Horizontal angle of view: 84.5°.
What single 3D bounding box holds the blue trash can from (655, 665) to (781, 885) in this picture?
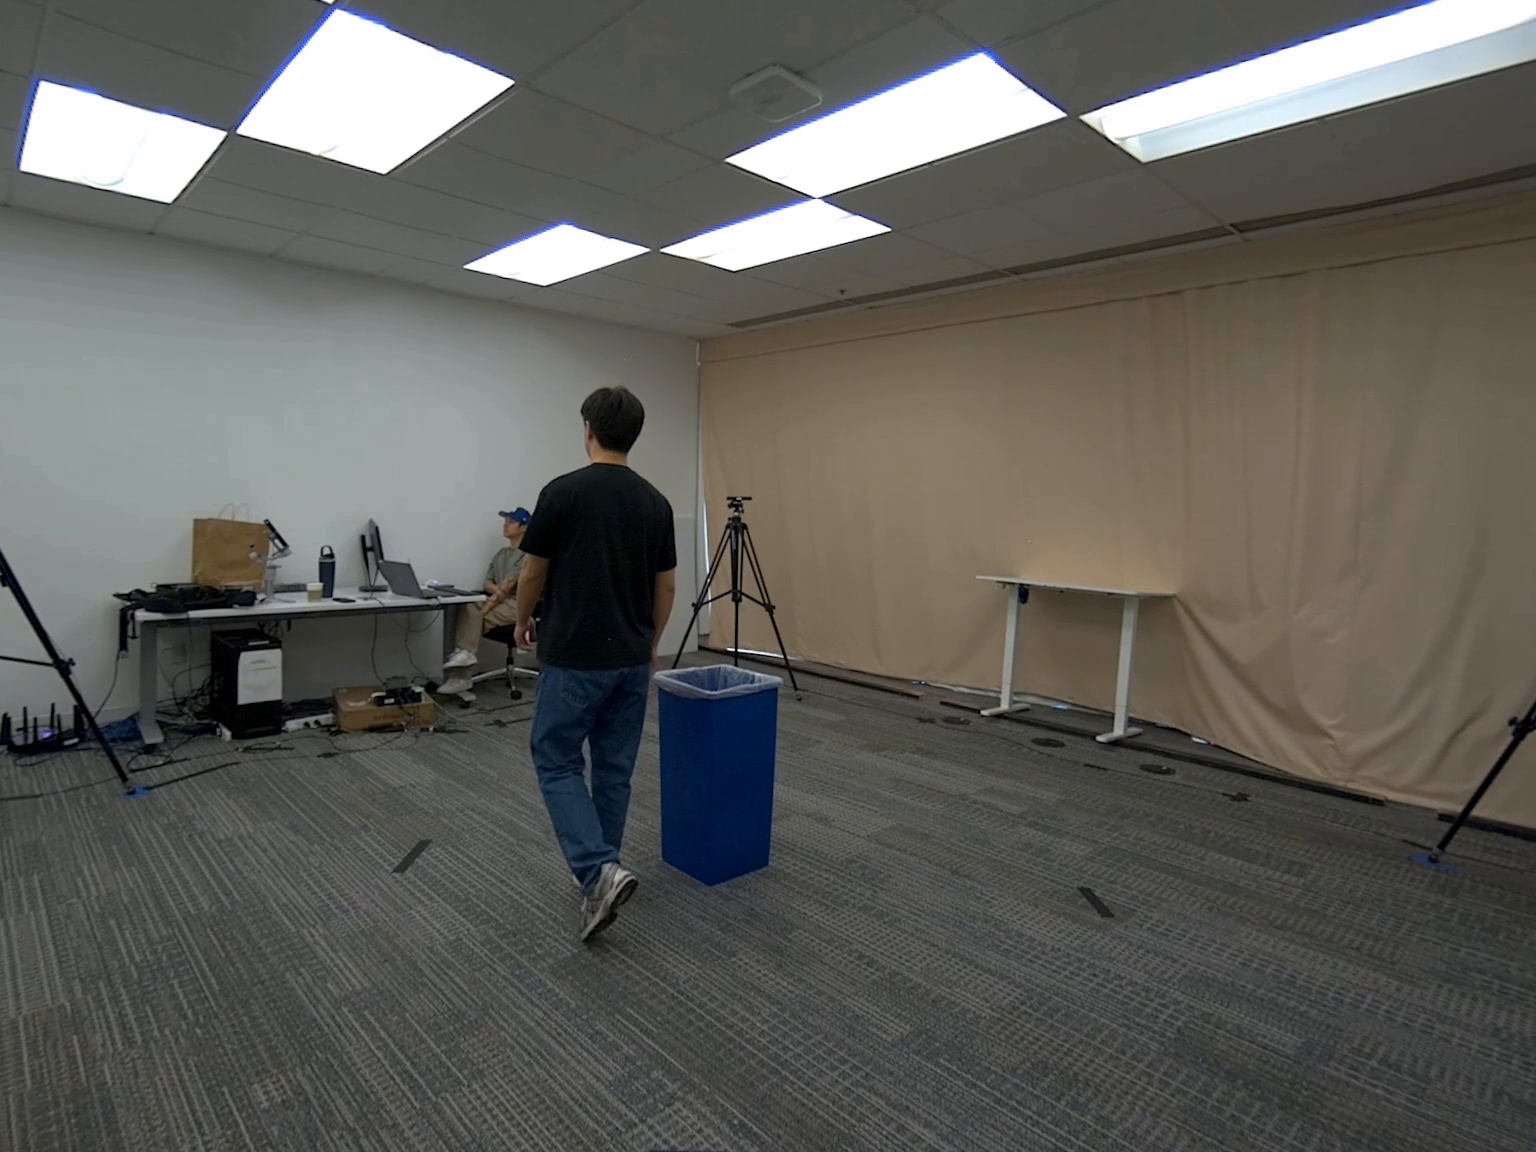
[{"bbox_3d":[-0.200,0.738,3.195,0.365,0.712,0.388,-1,4,-43],"label":"blue trash can"}]
